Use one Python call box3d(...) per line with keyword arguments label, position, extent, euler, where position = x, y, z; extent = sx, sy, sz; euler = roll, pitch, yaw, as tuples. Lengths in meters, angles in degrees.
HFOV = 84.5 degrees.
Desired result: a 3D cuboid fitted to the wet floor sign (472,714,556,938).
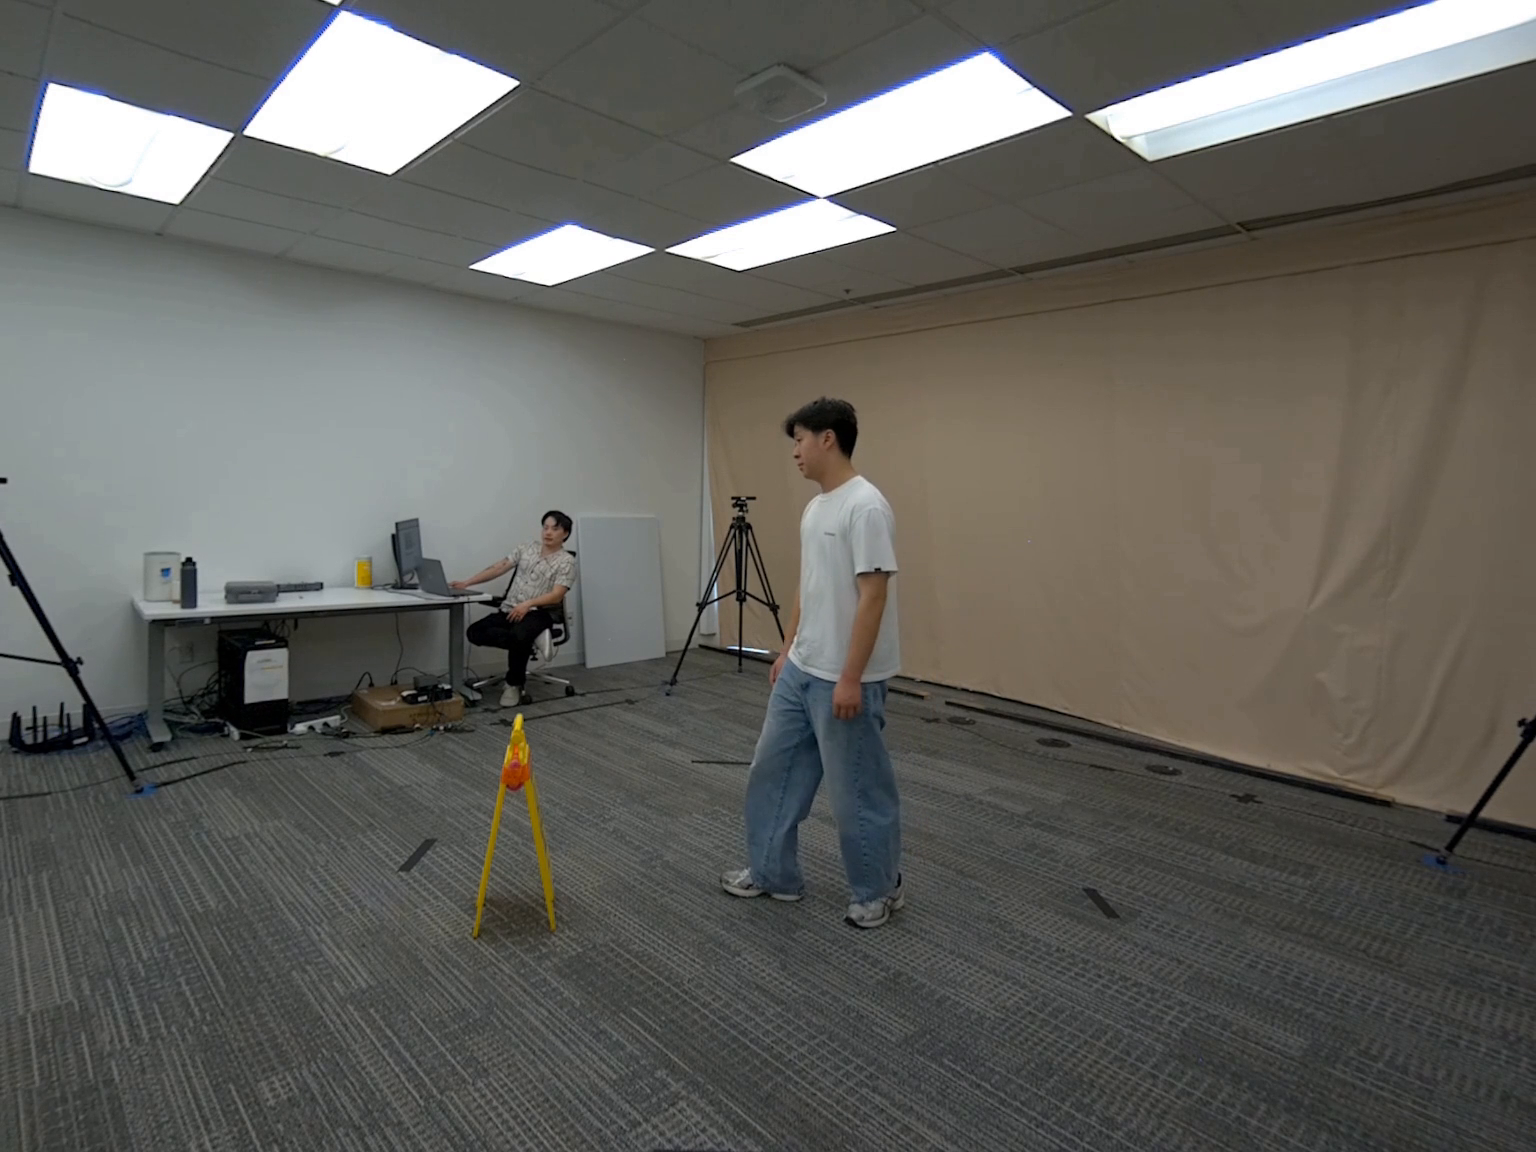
box3d(label="wet floor sign", position=(-0.831, 0.799, 2.784), extent=(0.287, 0.645, 0.285), euler=(1, 3, -12))
